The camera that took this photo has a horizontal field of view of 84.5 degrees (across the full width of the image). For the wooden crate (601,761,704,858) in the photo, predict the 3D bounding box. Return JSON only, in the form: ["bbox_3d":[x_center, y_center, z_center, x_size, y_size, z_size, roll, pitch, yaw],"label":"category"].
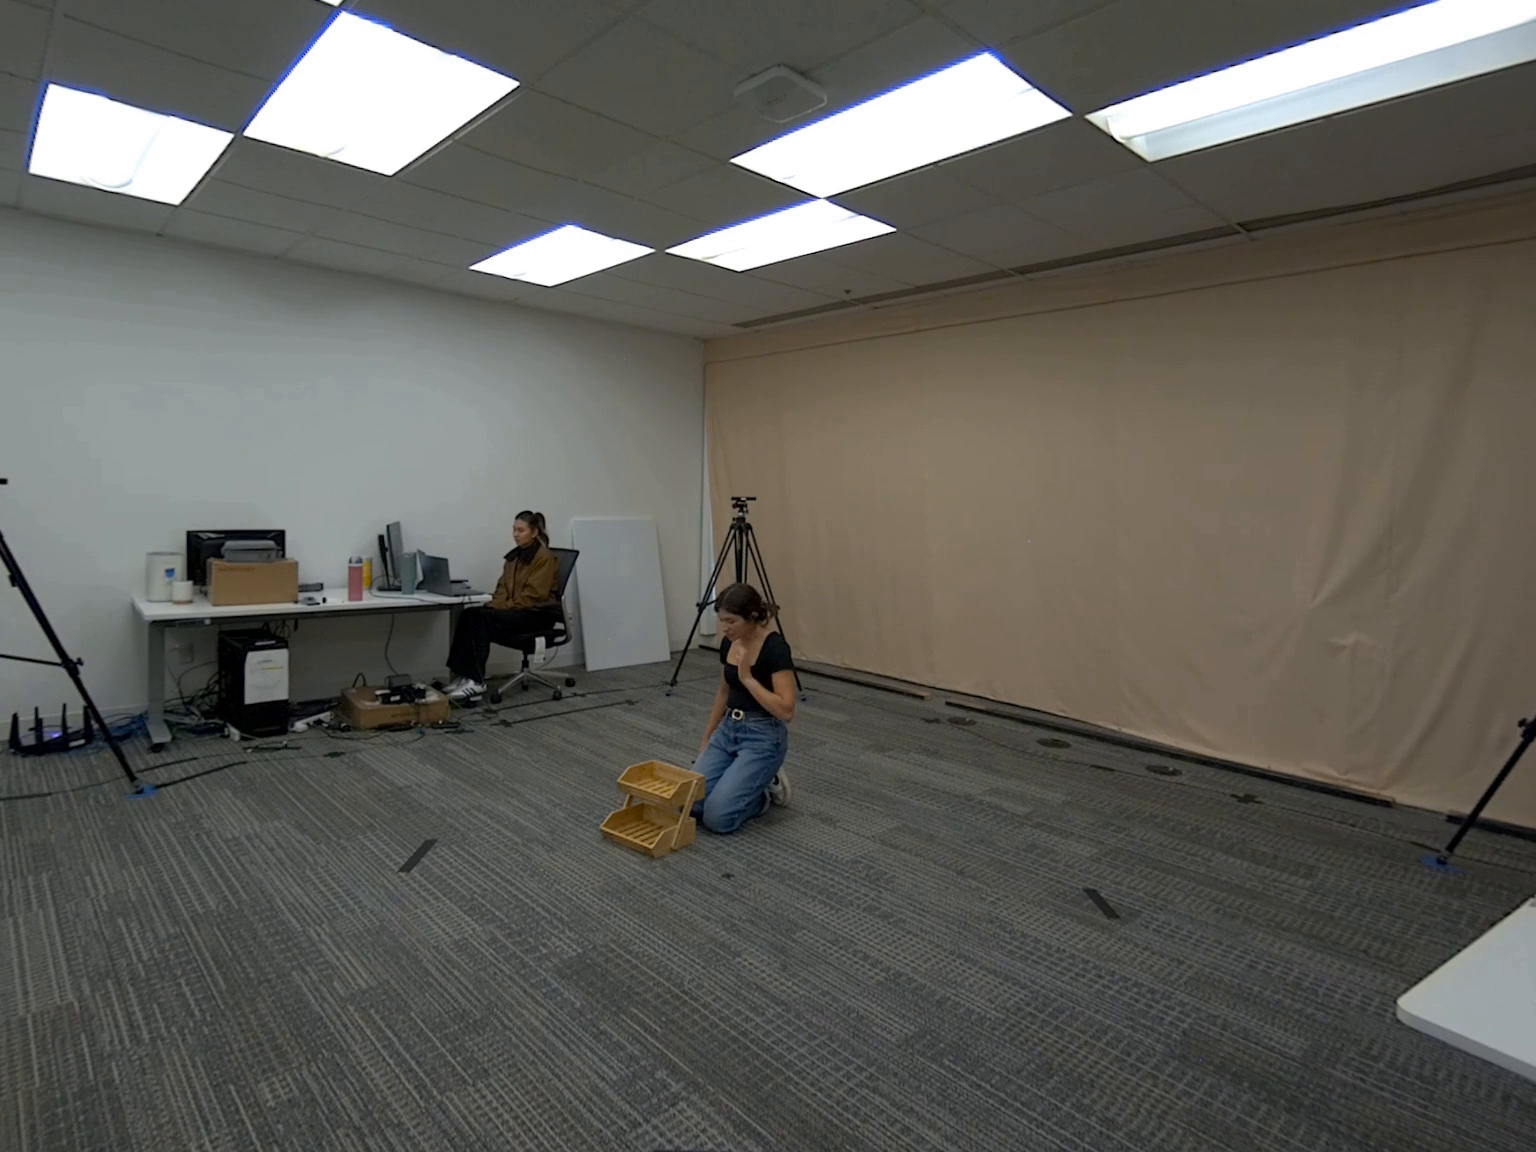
[{"bbox_3d":[-0.480,0.939,3.425,0.332,0.273,0.295,5,4,38],"label":"wooden crate"}]
